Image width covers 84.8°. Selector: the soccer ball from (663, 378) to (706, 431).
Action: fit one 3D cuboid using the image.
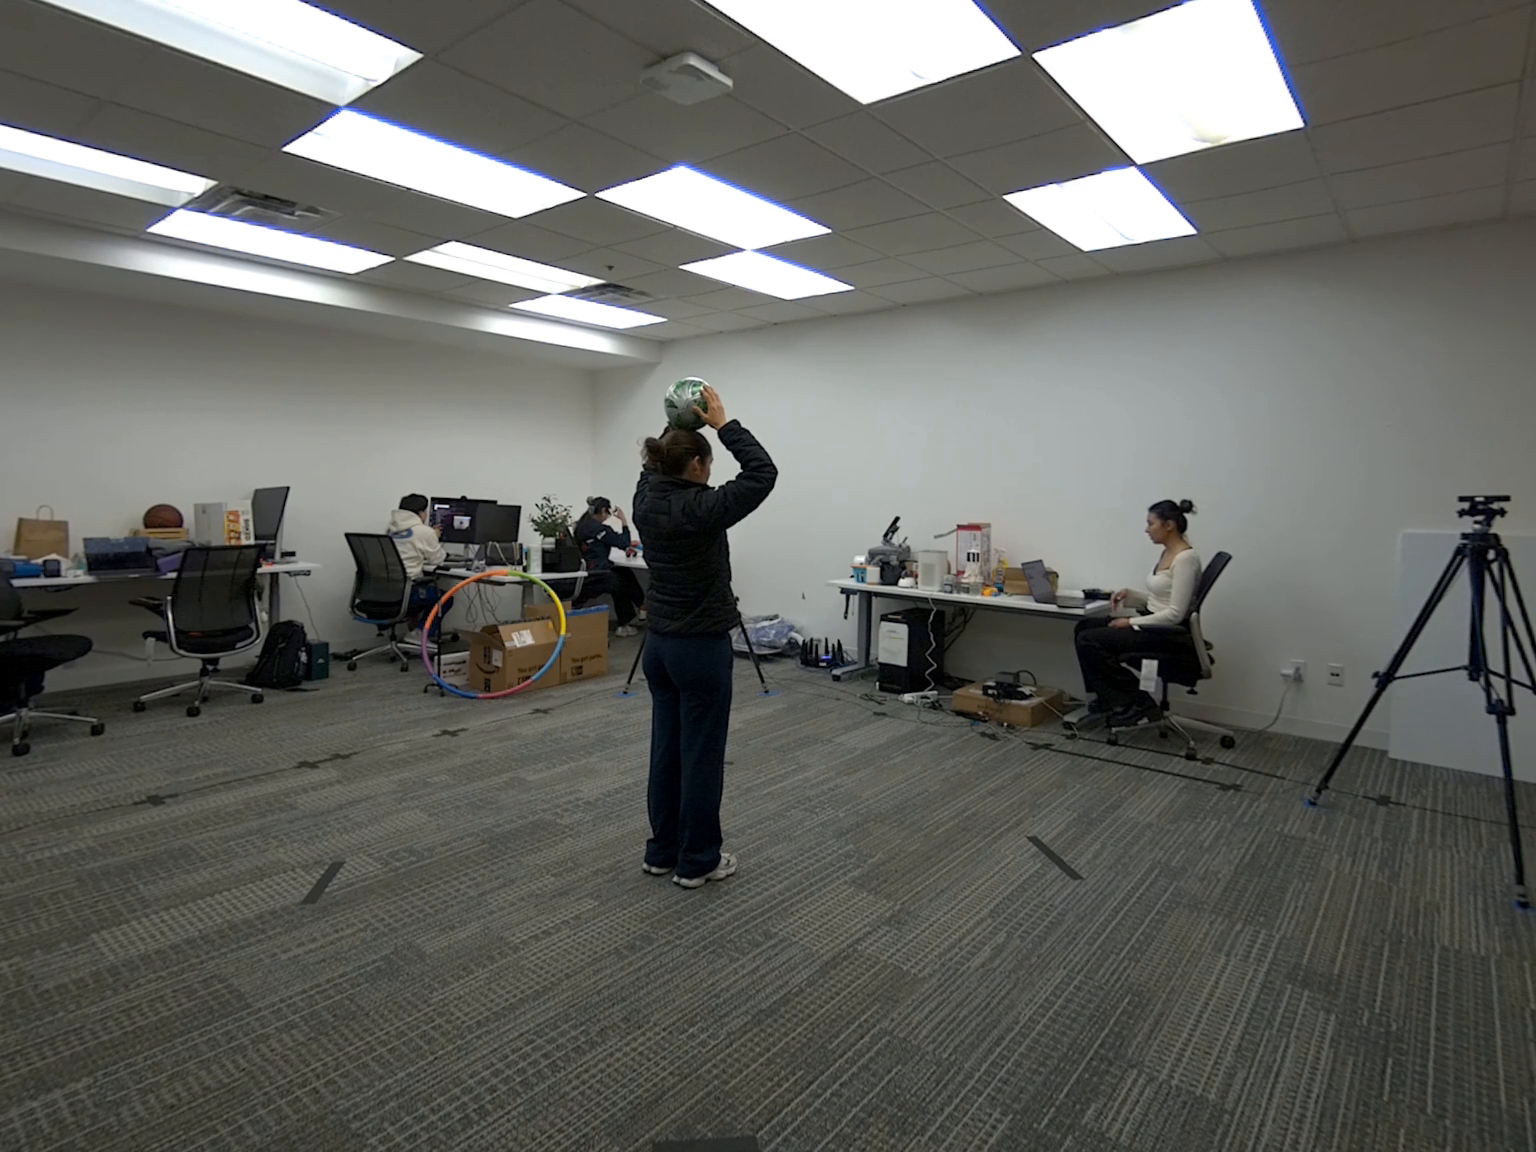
[{"bbox_3d":[-0.277,-0.610,3.017,0.187,0.187,0.188,1,4,-2],"label":"soccer ball"}]
